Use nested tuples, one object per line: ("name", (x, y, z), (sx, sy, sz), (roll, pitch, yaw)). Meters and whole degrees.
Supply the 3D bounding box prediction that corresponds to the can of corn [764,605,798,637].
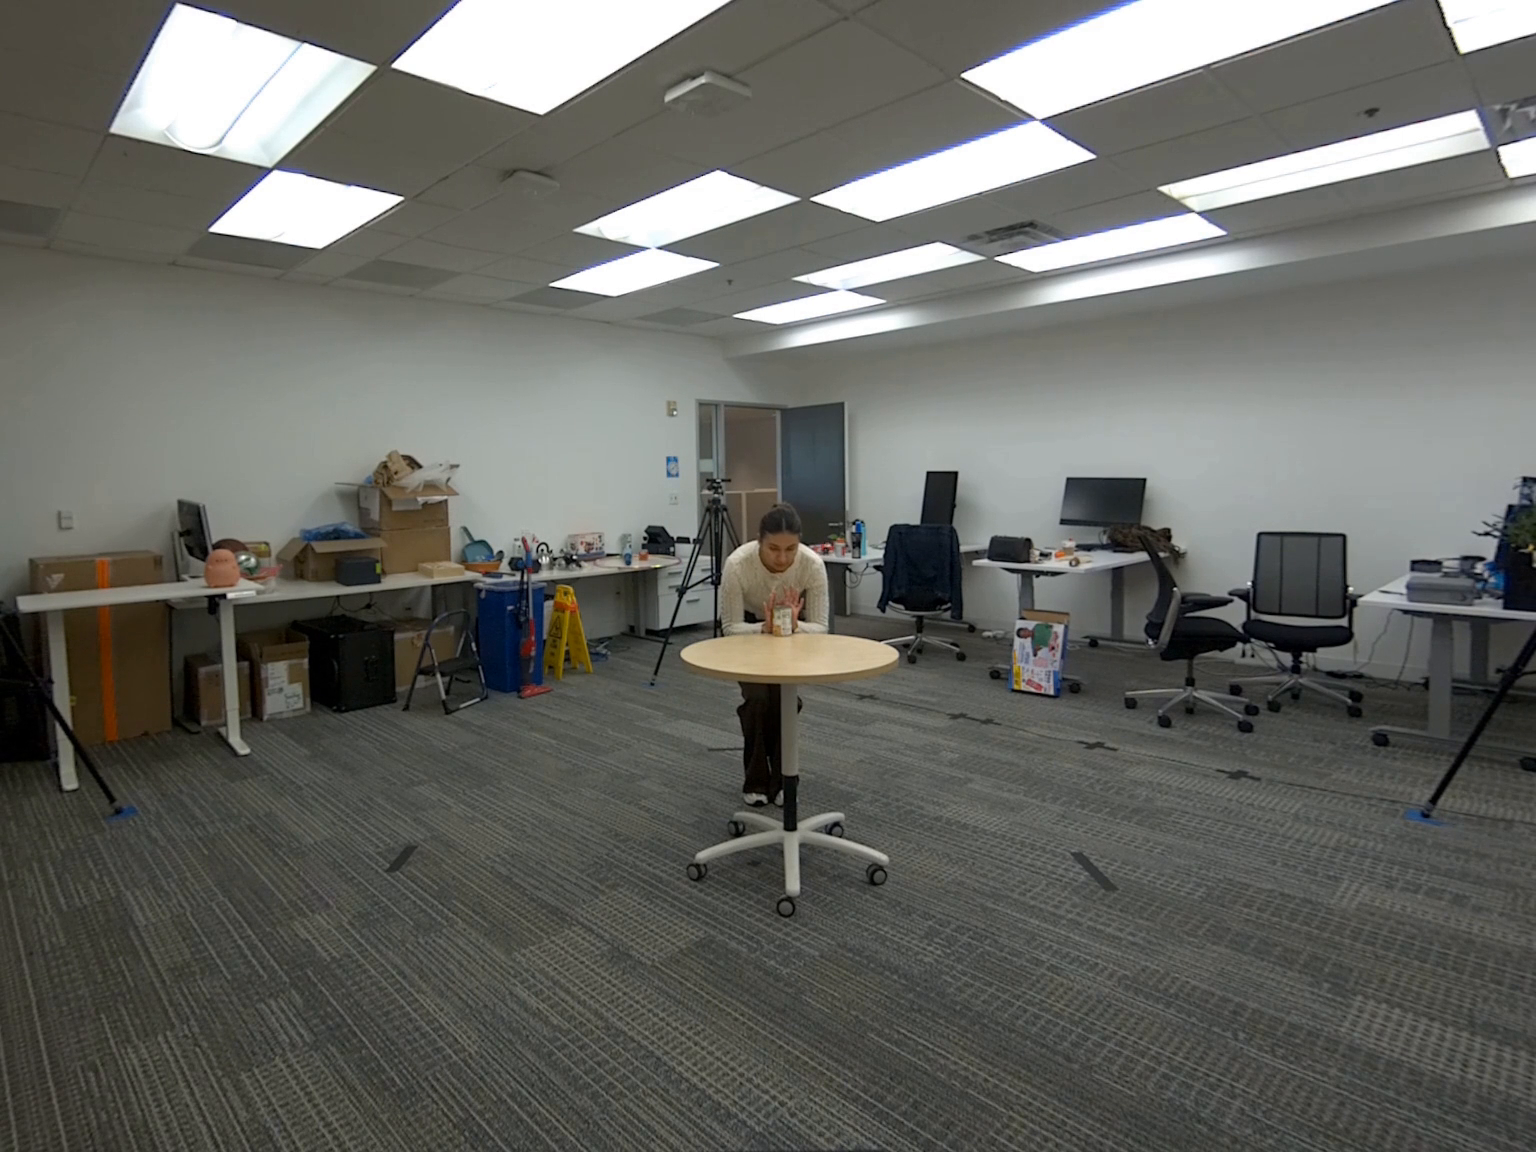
("can of corn", (0.058, 0.177, 3.349), (0.074, 0.111, 0.074), (1, 4, -2))
